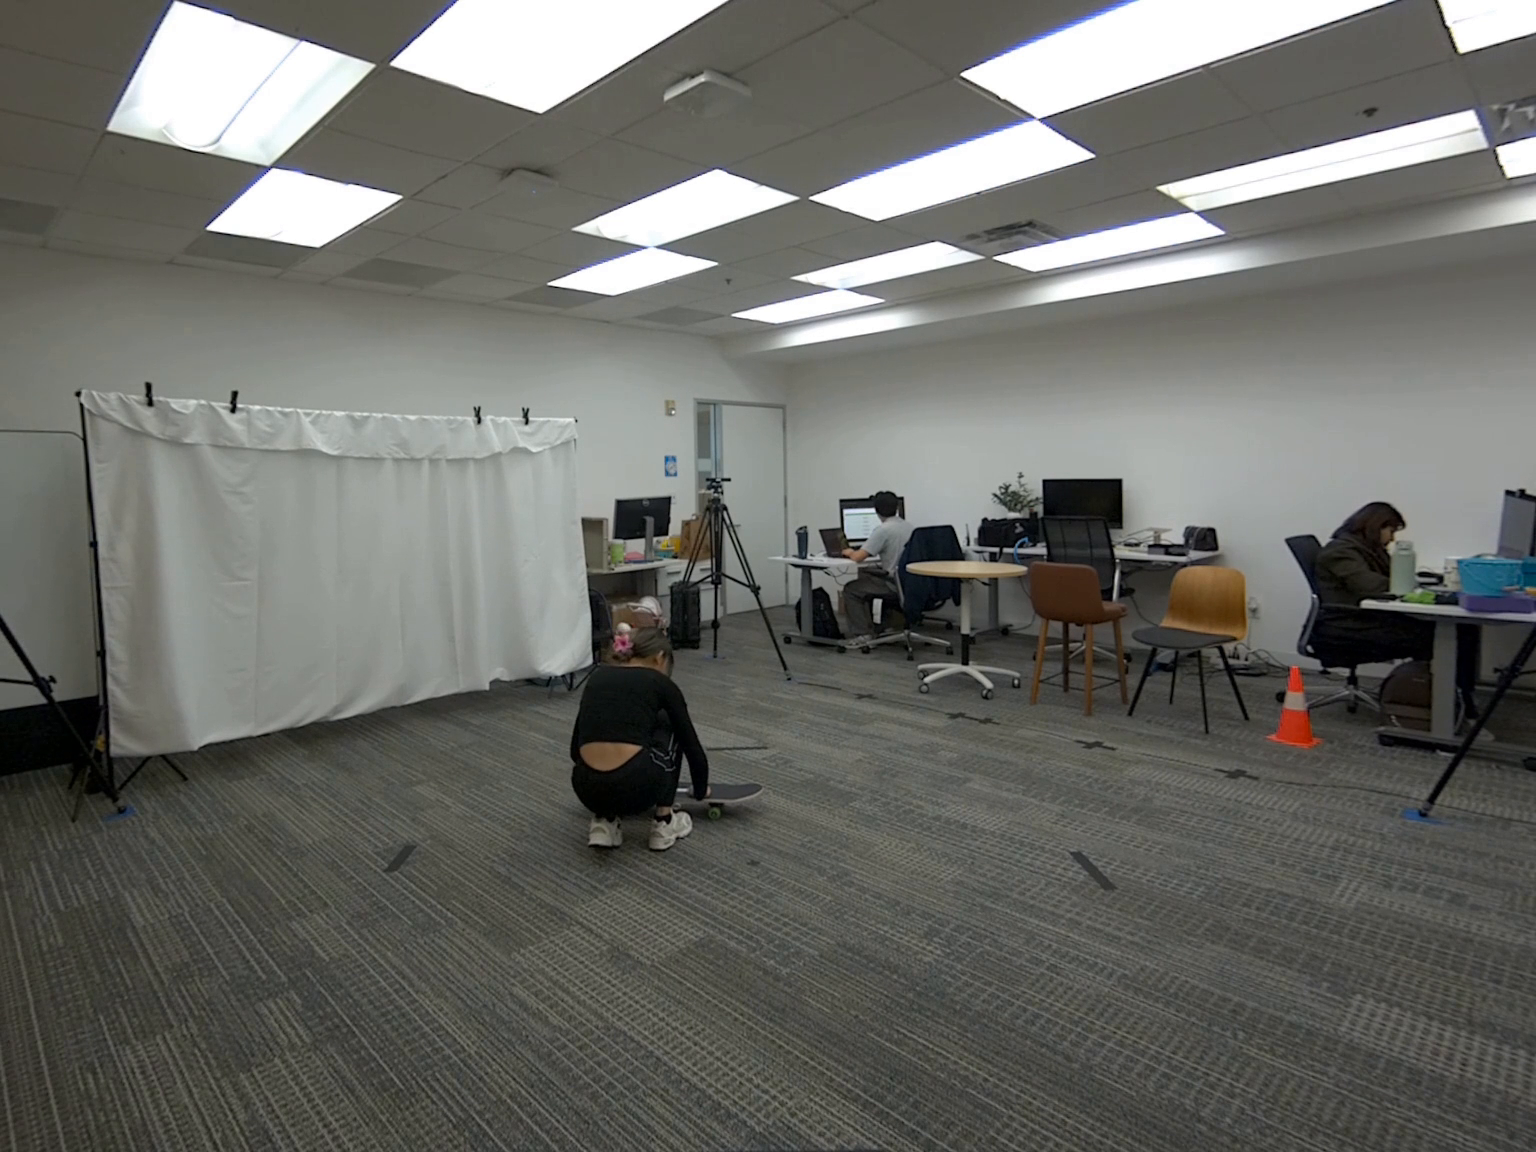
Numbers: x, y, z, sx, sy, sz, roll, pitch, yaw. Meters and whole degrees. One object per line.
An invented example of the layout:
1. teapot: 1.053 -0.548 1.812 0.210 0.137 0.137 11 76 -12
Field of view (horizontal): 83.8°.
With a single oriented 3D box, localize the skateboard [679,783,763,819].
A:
1. skateboard: -0.404 0.931 3.607 0.792 0.110 0.193 0 6 9
